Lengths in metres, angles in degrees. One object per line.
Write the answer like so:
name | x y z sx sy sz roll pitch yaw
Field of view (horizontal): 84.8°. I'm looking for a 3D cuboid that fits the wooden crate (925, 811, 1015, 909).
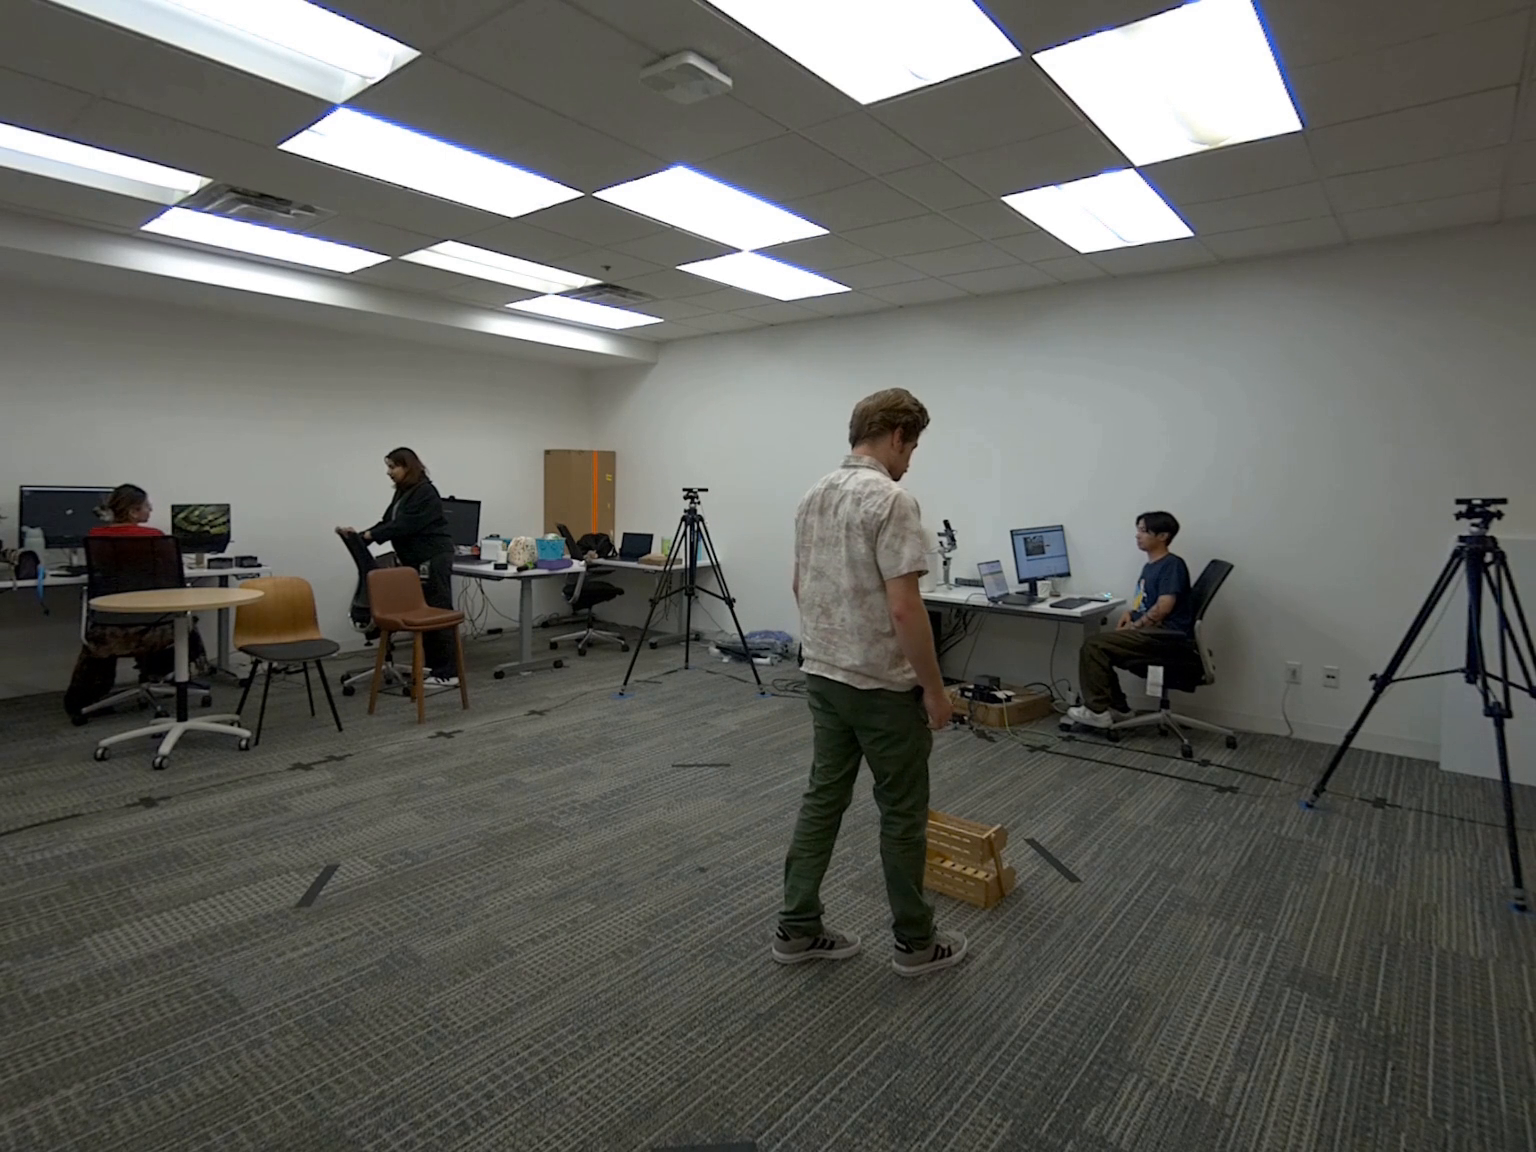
wooden crate | 0.679 0.965 3.028 0.335 0.272 0.293 5 7 39
